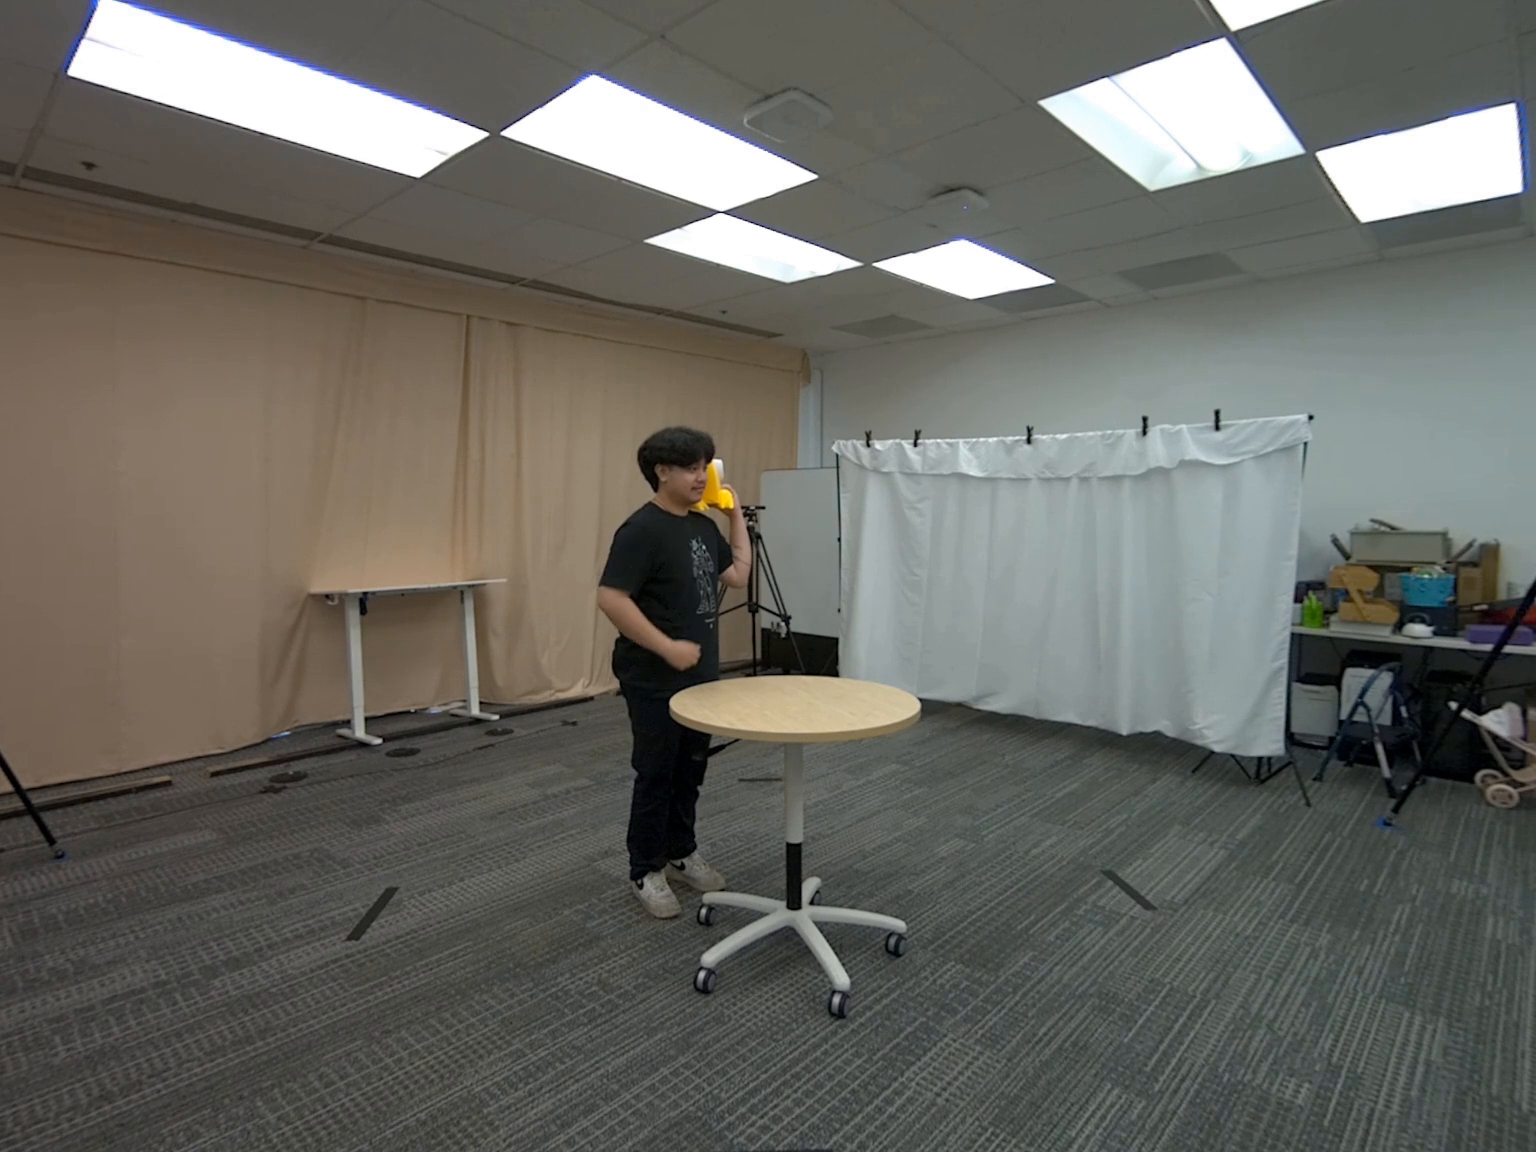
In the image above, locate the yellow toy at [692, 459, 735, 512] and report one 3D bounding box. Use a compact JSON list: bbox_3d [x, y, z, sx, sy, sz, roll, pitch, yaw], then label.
[{"bbox_3d":[-0.227,-0.375,3.105,0.199,0.229,0.200,-6,18,-32],"label":"yellow toy"}]
